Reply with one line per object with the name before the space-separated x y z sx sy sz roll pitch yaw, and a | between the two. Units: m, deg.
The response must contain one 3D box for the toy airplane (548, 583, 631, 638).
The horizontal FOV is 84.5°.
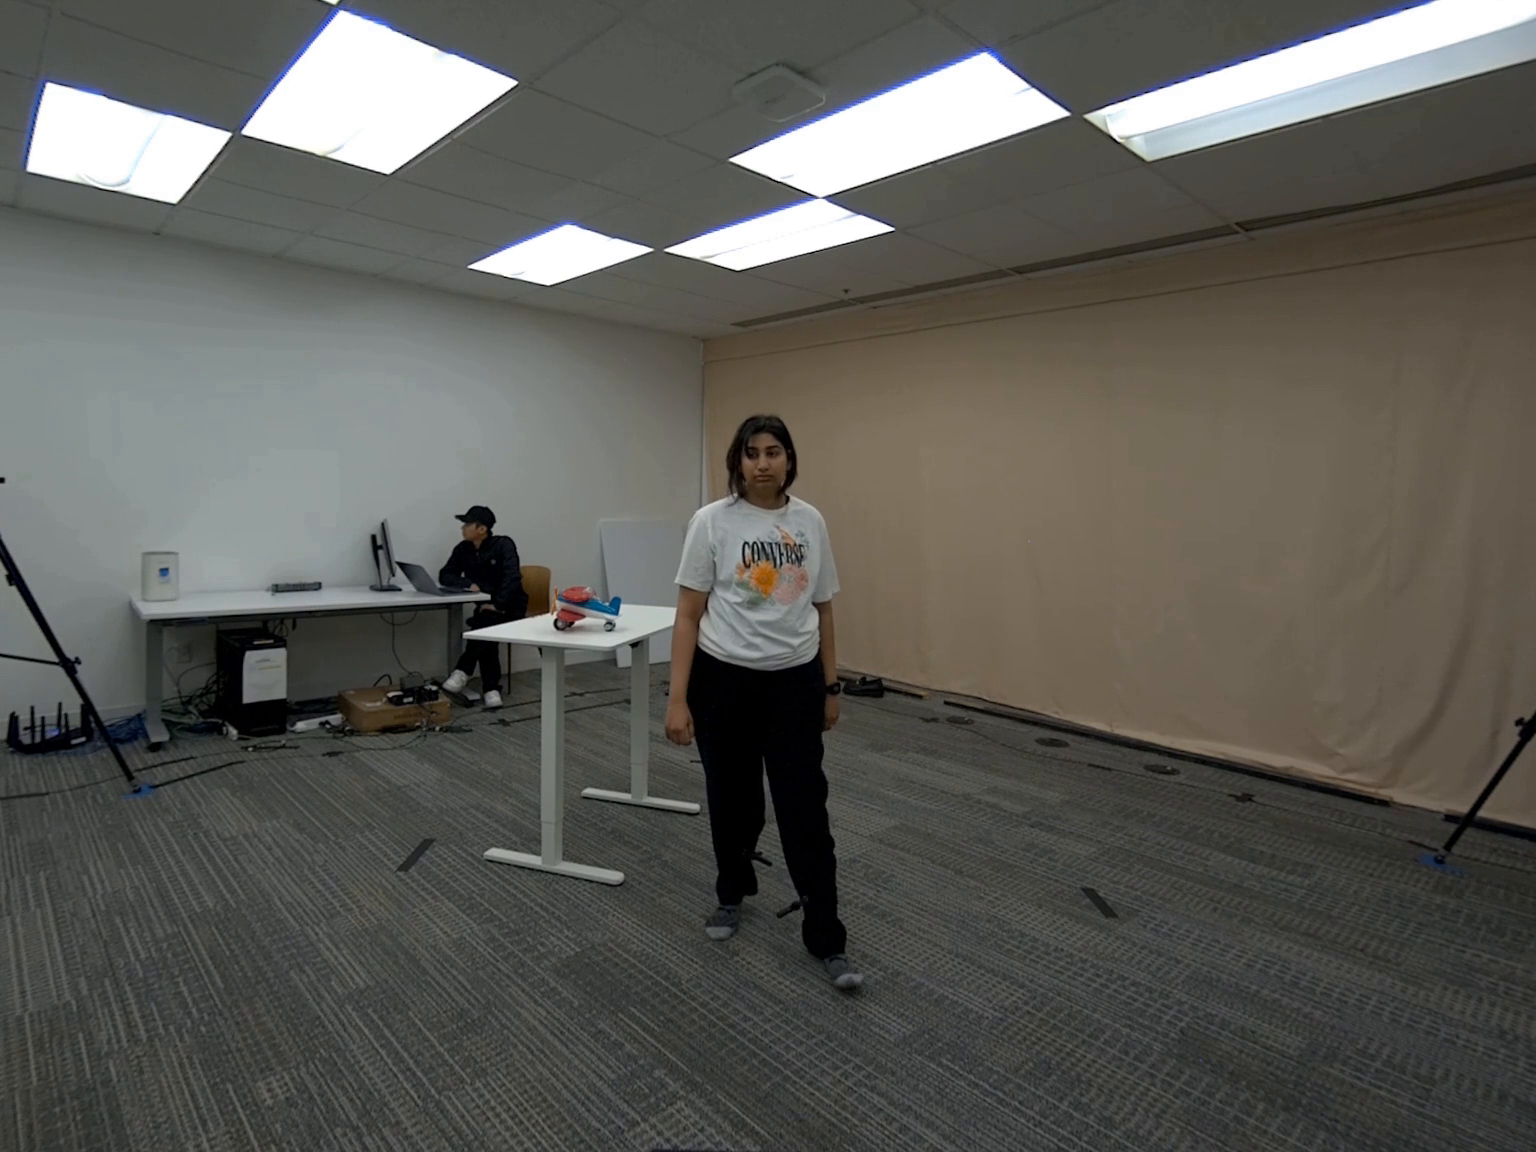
toy airplane | -0.681 0.124 3.199 0.255 0.156 0.255 -4 5 -20
